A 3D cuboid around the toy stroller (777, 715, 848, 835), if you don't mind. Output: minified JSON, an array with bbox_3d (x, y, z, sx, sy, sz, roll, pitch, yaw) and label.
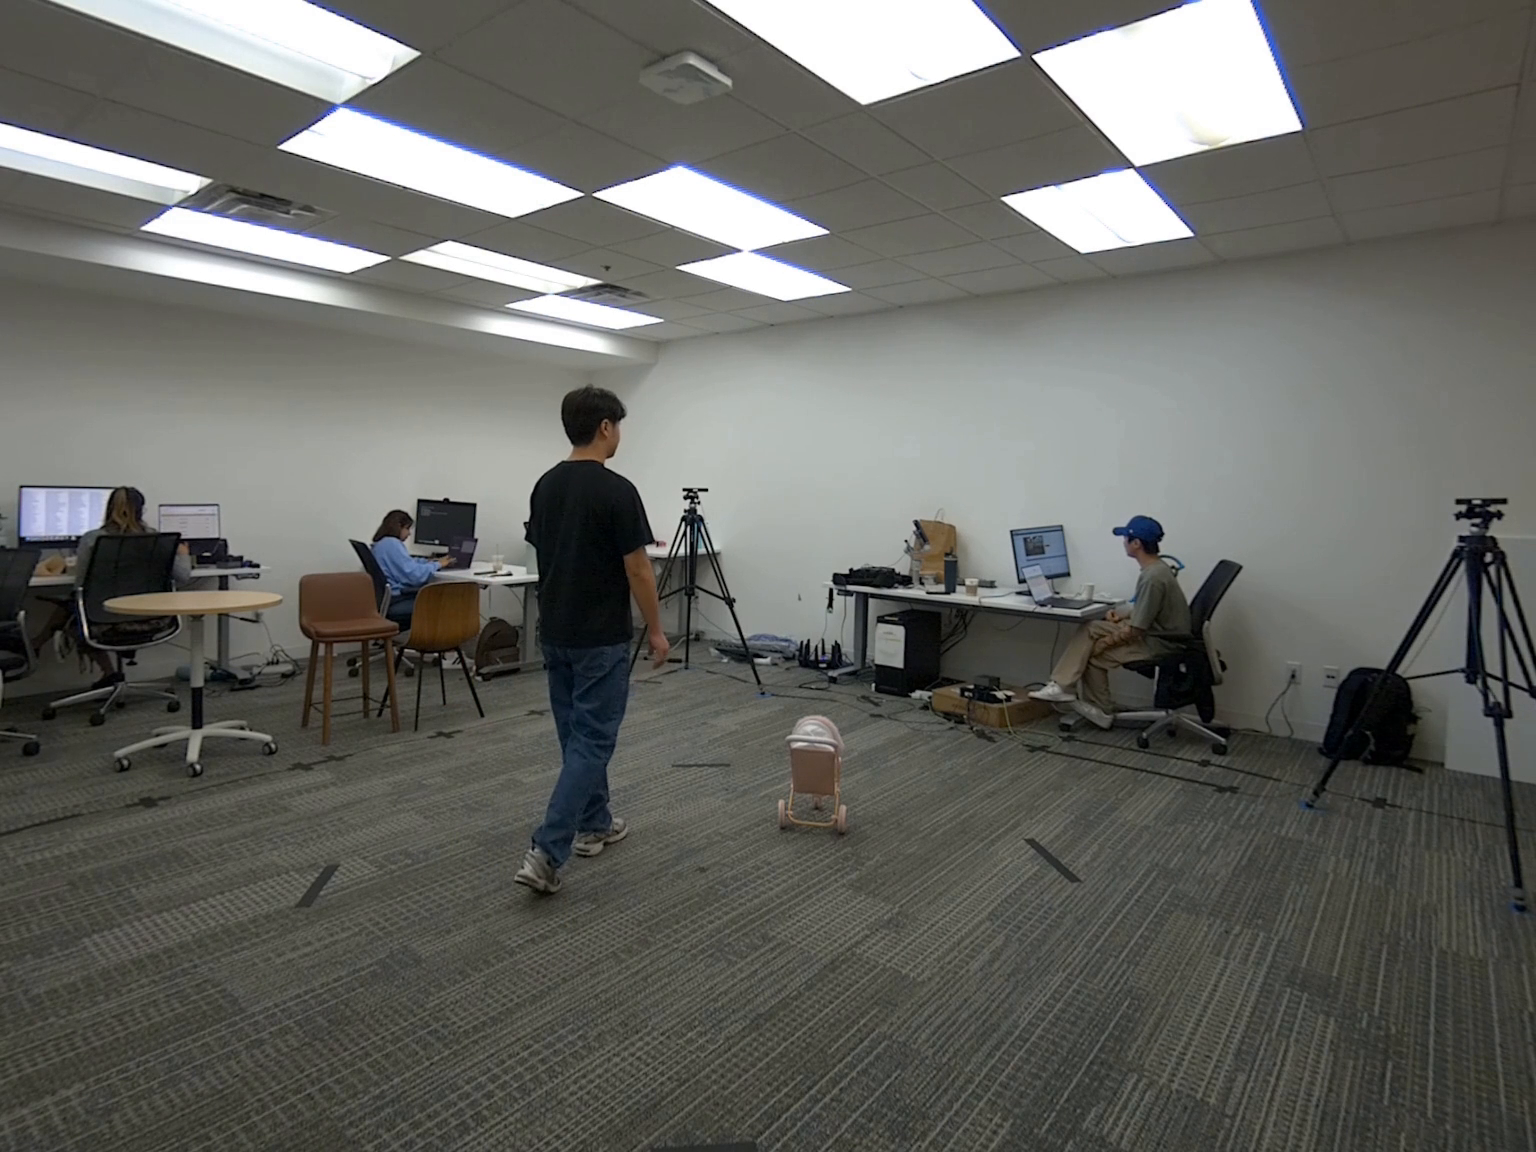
[{"bbox_3d":[0.188,0.815,3.551,0.286,0.525,0.342,3,20,12],"label":"toy stroller"}]
